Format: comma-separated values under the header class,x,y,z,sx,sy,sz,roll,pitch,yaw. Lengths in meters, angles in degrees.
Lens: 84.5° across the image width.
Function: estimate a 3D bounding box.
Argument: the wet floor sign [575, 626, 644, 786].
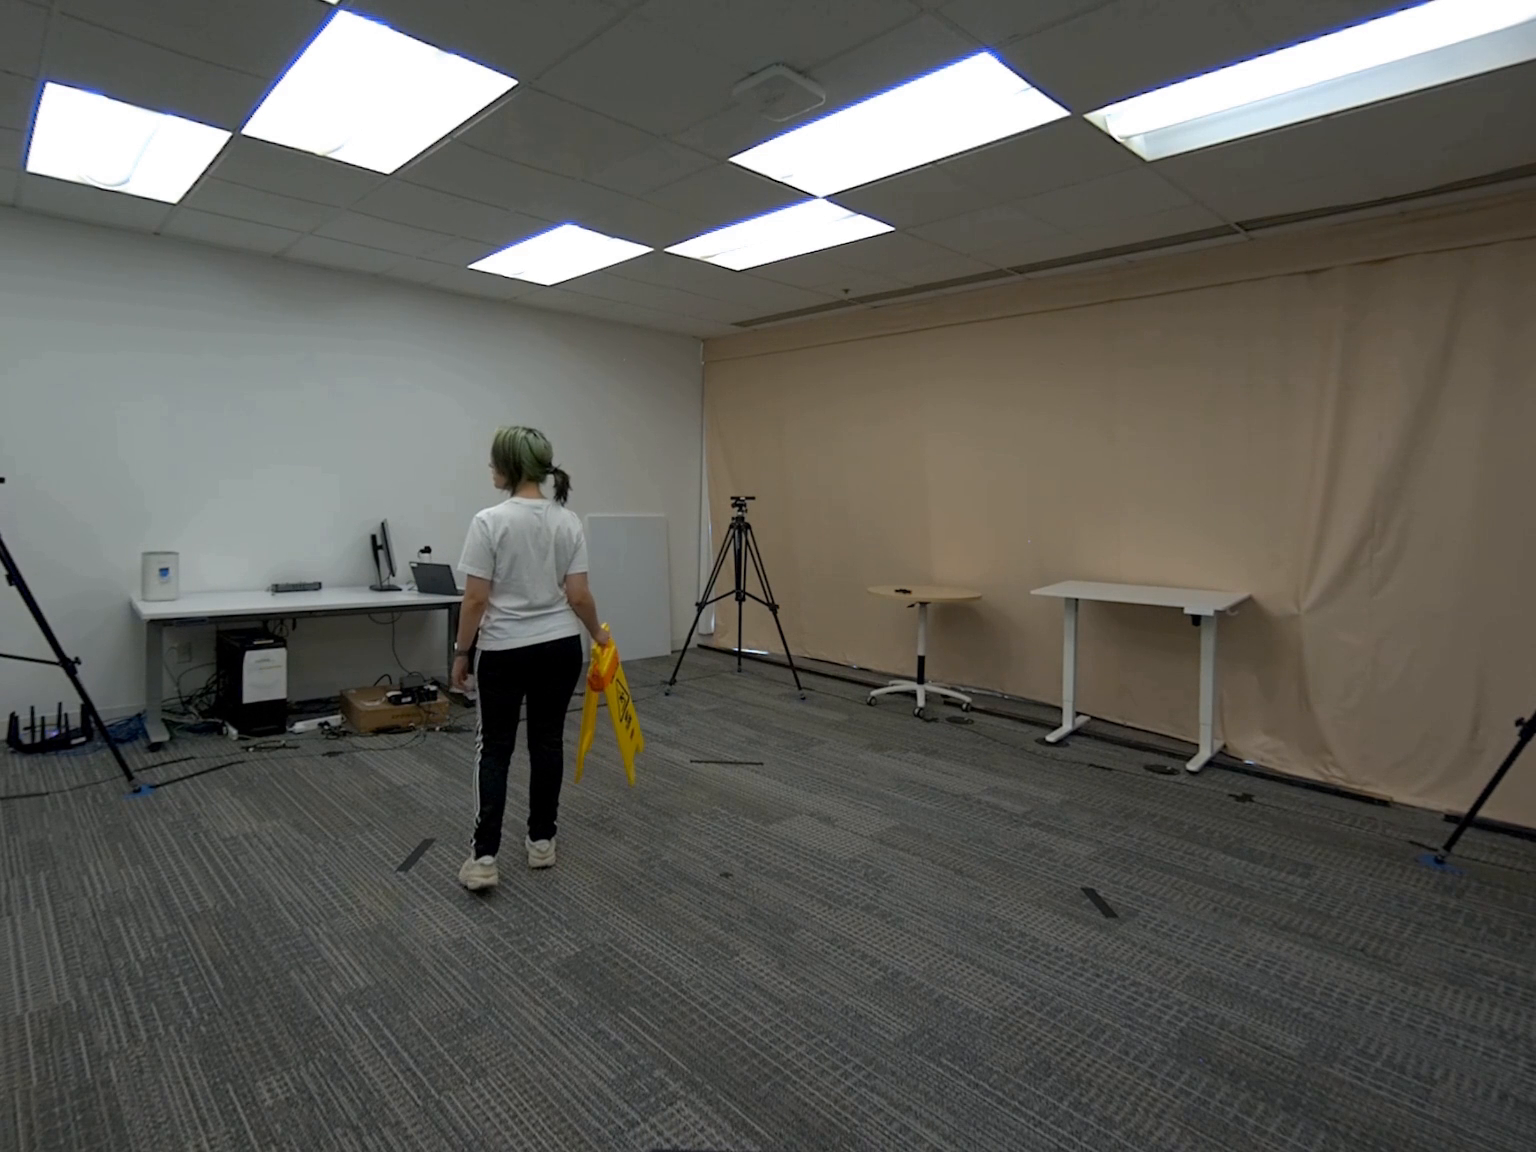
class,x,y,z,sx,sy,sz,roll,pitch,yaw
wet floor sign,-0.690,0.528,3.503,0.291,0.636,0.286,2,24,3
